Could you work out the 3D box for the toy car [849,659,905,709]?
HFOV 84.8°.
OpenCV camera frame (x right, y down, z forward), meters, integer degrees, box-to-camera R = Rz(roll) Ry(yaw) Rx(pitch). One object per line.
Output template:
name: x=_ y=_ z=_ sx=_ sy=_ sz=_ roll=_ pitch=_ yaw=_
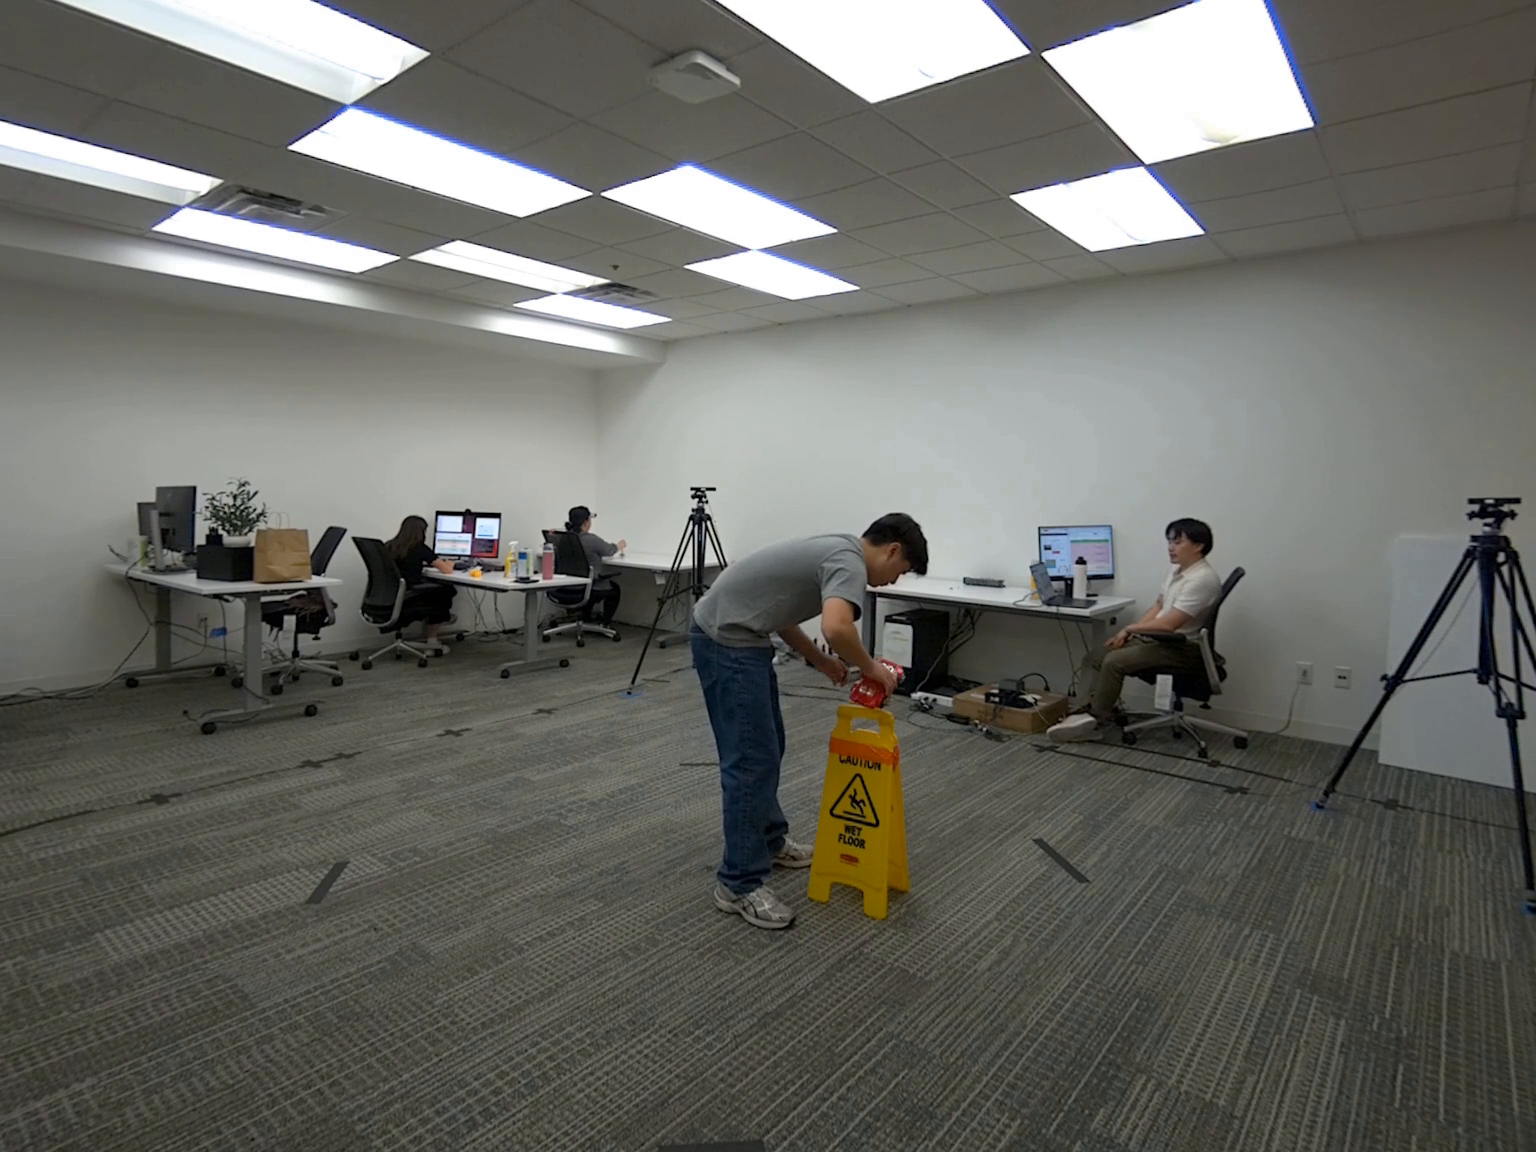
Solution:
toy car: x=0.354 y=0.378 z=2.878 sx=0.134 sy=0.082 sz=0.251 roll=20 pitch=27 yaw=24
